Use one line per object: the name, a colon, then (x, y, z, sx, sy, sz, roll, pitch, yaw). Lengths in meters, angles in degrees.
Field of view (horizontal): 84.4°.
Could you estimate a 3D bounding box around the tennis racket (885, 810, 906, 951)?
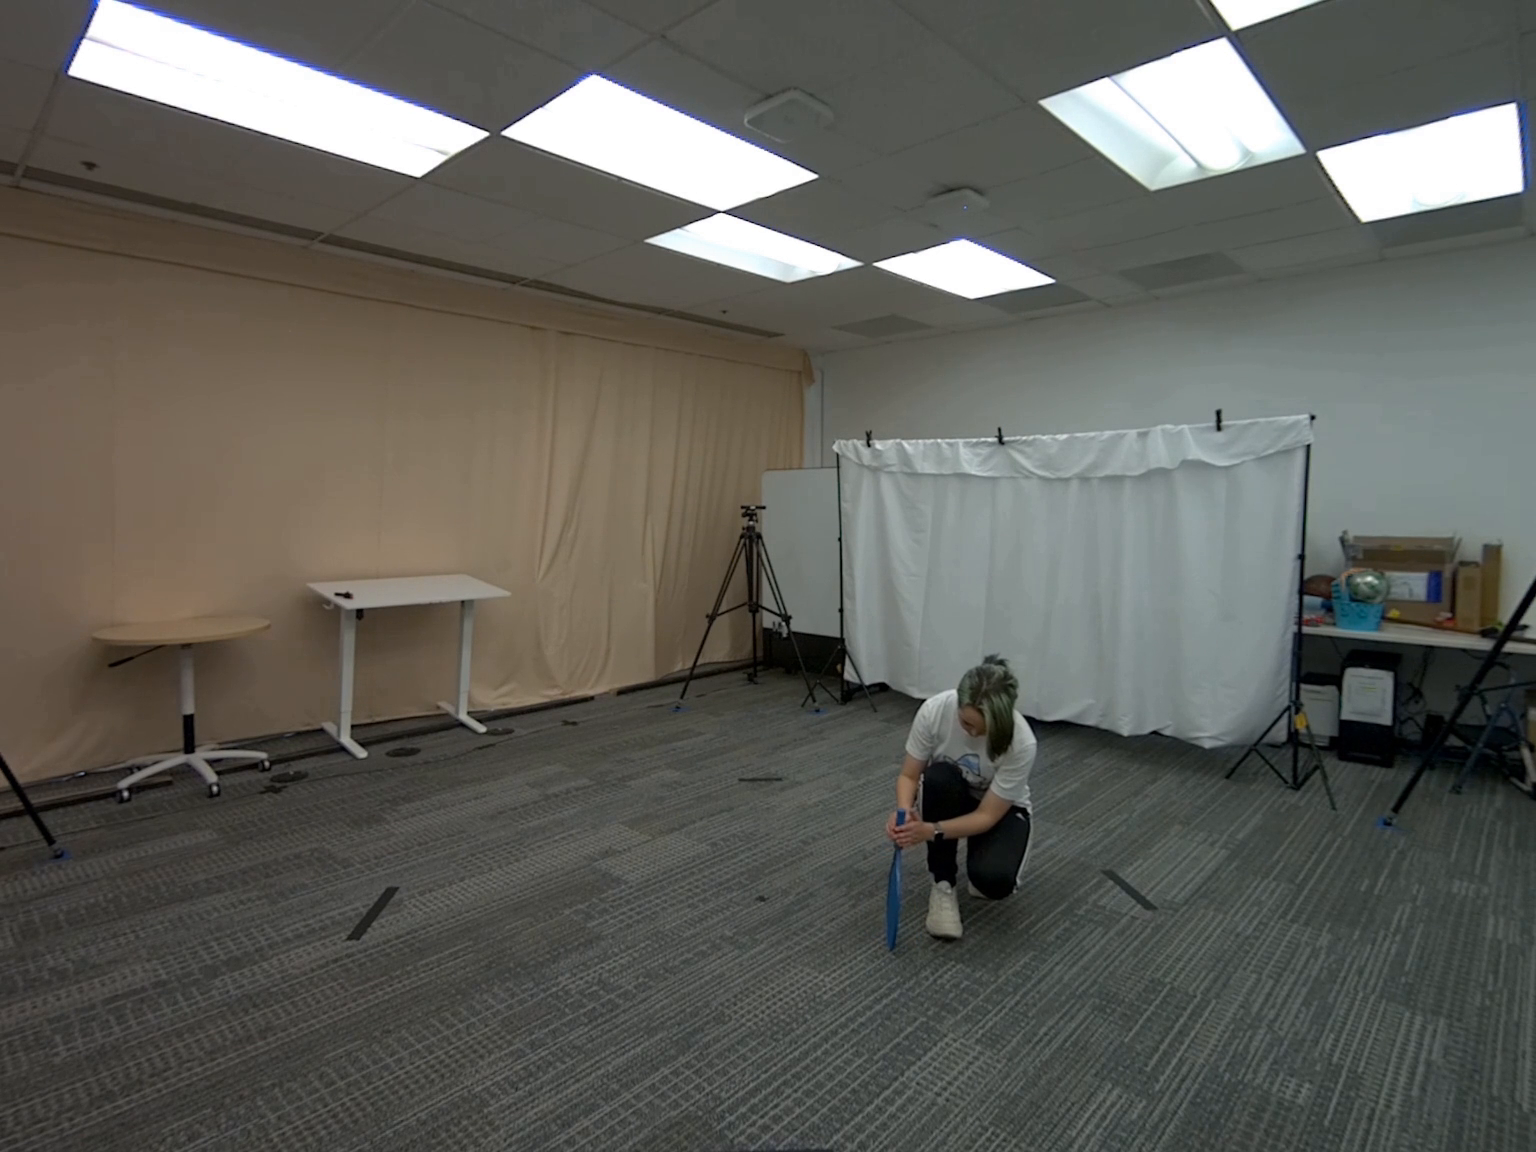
tennis racket: (0.416, 0.967, 2.652, 0.032, 0.433, 0.213, 0, -2, 0)
